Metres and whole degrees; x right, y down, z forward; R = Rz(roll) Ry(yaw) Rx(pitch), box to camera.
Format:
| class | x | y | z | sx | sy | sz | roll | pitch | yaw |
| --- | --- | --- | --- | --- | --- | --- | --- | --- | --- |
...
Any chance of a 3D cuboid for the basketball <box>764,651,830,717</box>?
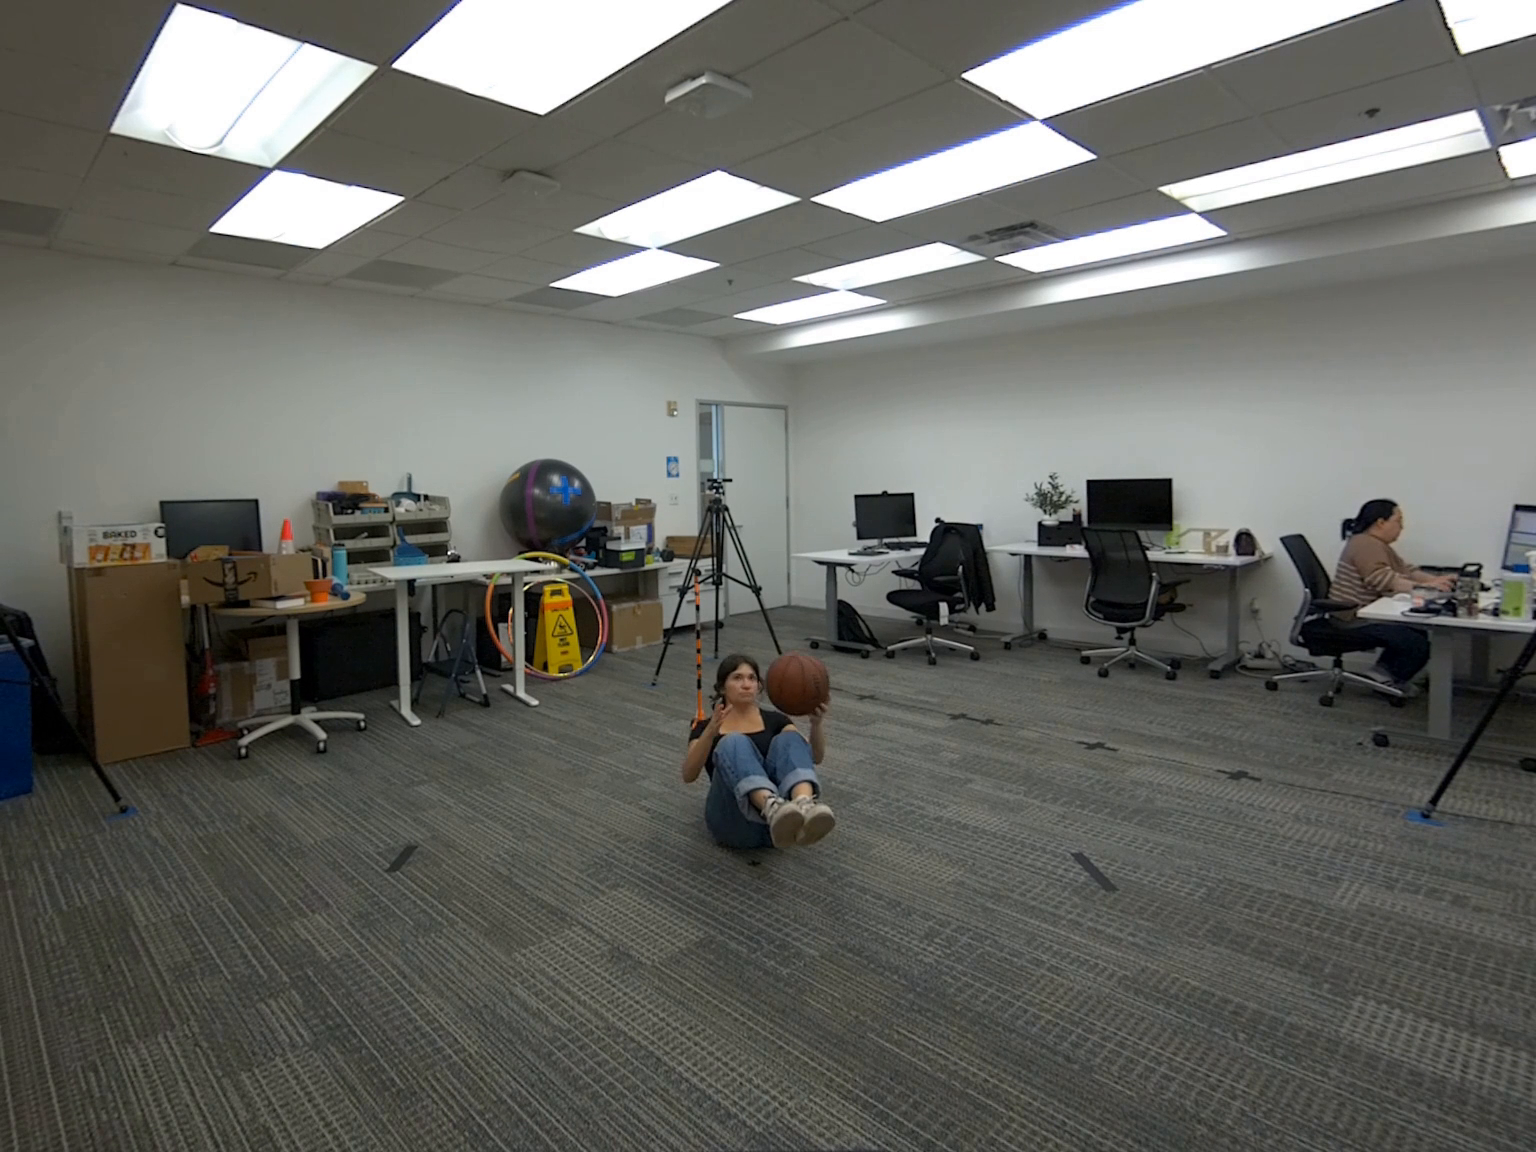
| class | x | y | z | sx | sy | sz | roll | pitch | yaw |
| --- | --- | --- | --- | --- | --- | --- | --- | --- | --- |
| basketball | 0.101 | 0.417 | 3.157 | 0.236 | 0.235 | 0.237 | -1 | 5 | -2 |
